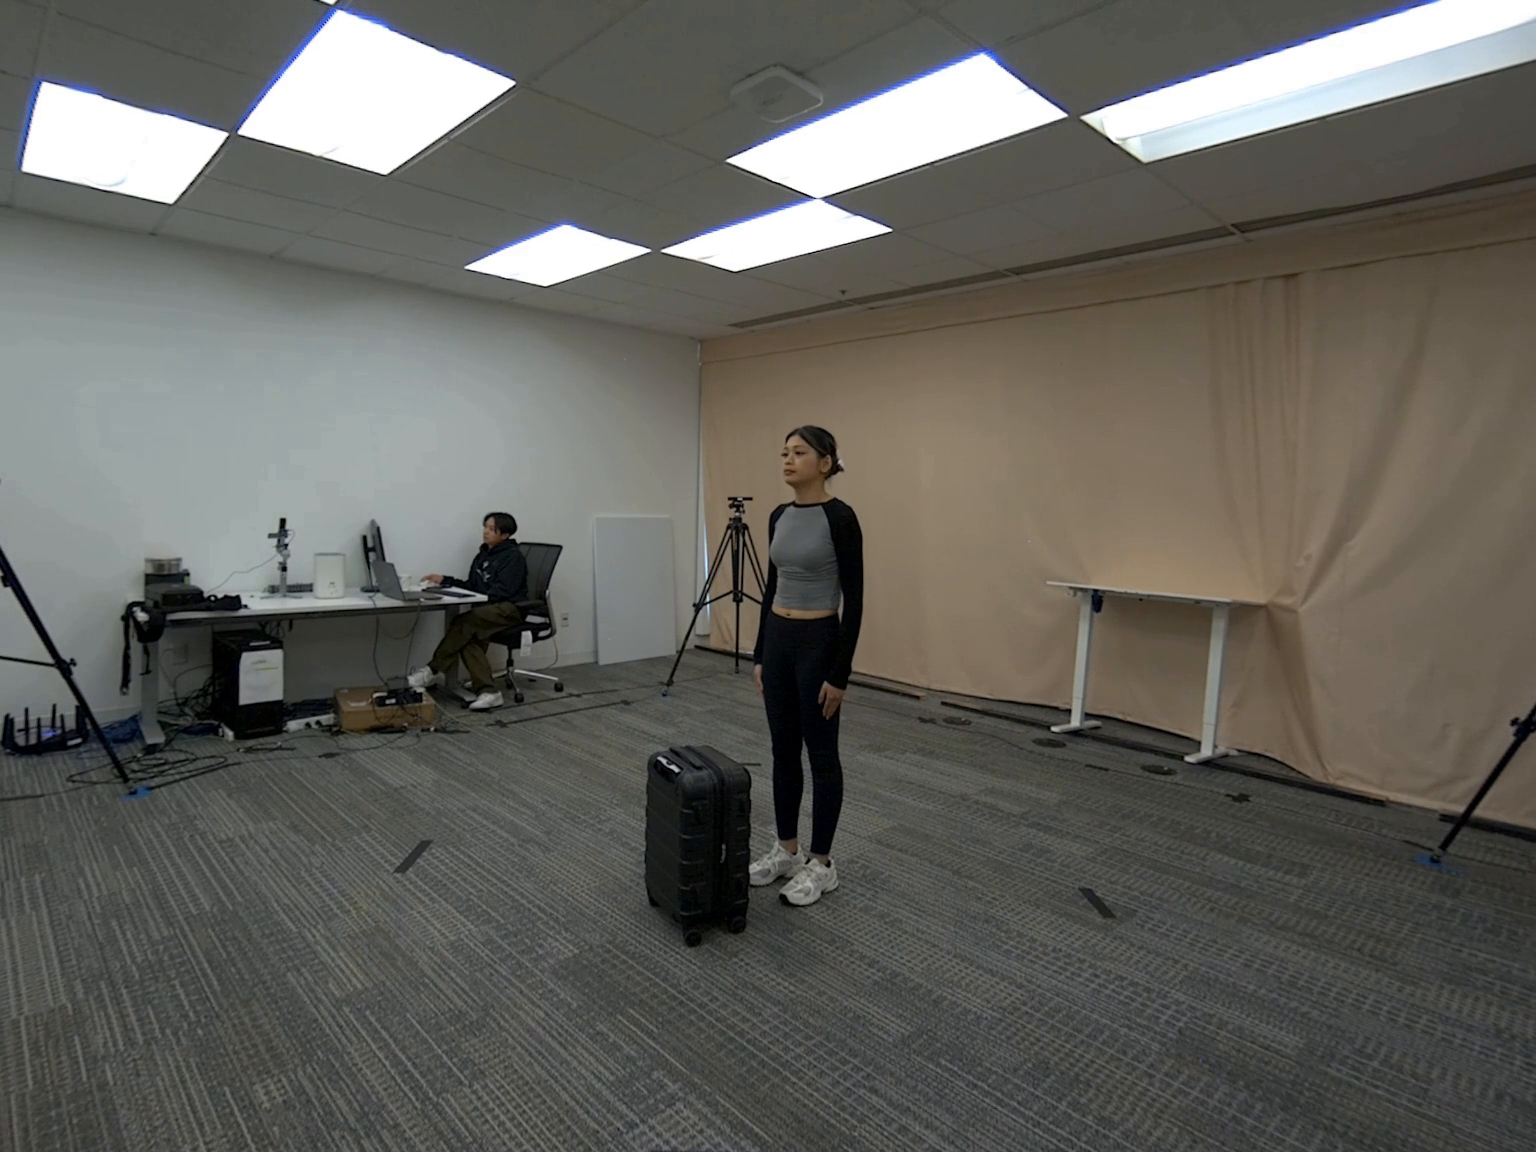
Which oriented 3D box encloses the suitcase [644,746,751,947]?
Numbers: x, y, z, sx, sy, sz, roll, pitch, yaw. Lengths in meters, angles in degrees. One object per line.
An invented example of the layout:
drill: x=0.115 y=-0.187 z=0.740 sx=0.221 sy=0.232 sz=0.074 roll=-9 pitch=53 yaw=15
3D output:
suitcase: x=-0.241 y=0.855 z=2.784 sx=0.243 sy=0.548 sz=0.383 roll=0 pitch=3 yaw=-29
